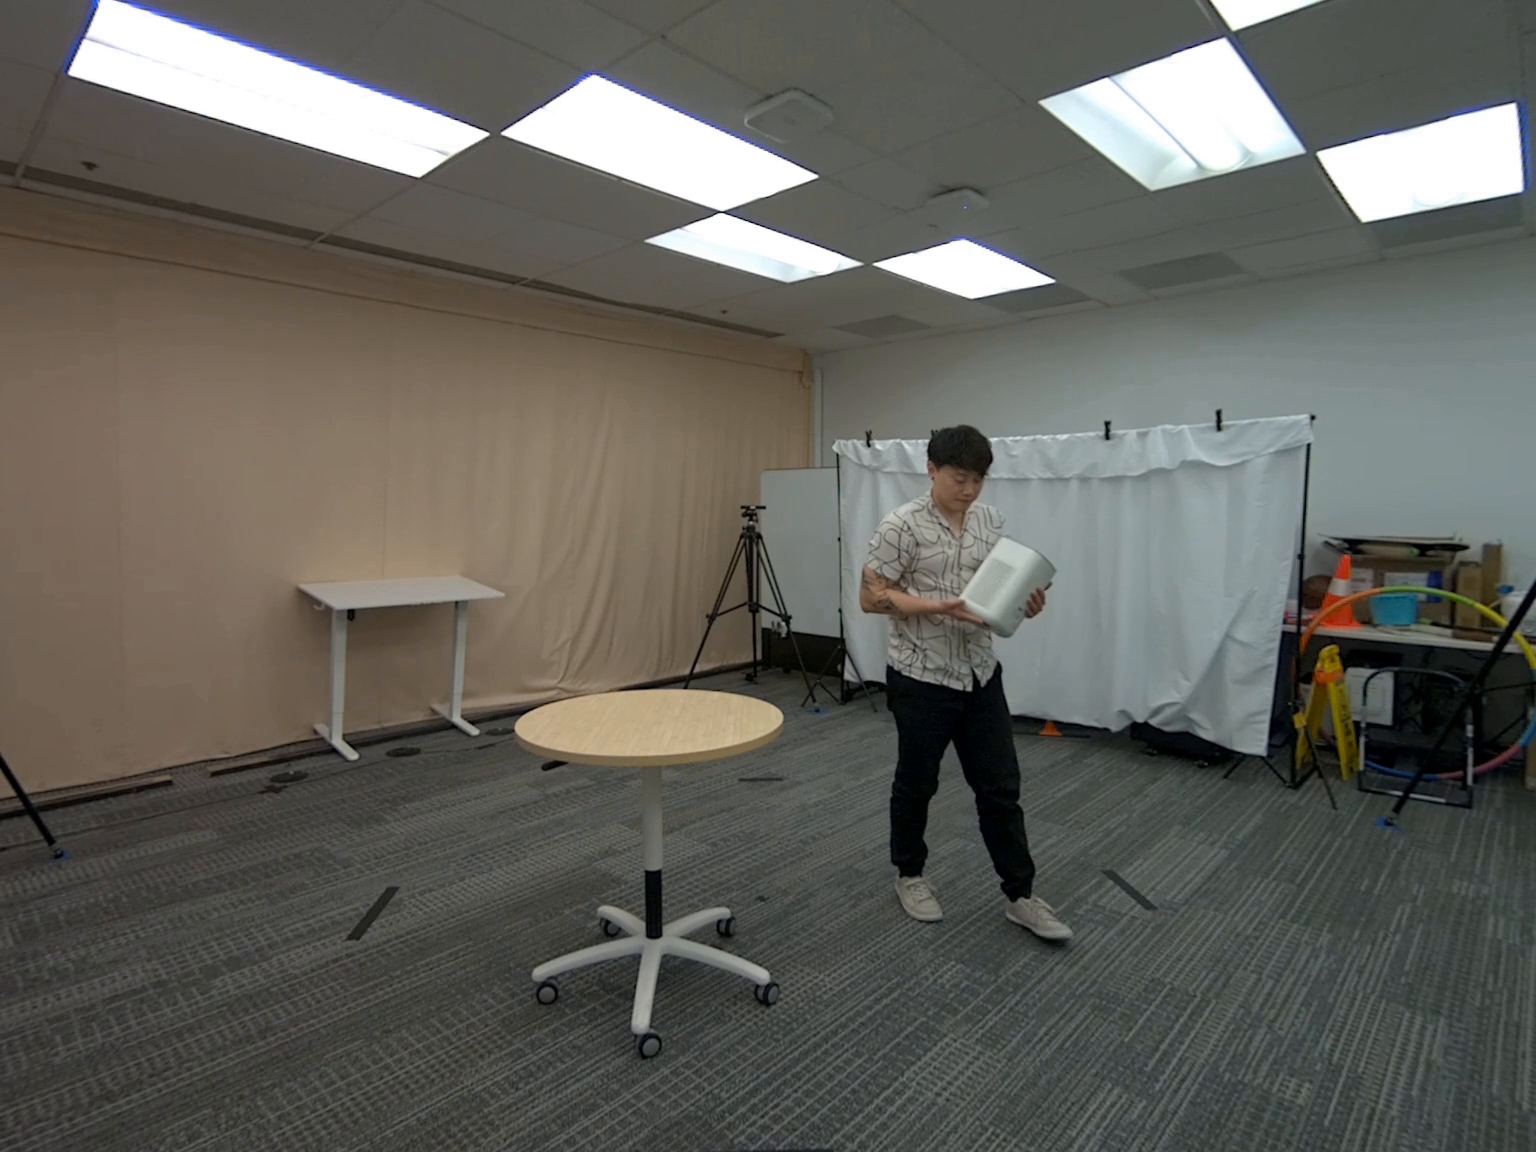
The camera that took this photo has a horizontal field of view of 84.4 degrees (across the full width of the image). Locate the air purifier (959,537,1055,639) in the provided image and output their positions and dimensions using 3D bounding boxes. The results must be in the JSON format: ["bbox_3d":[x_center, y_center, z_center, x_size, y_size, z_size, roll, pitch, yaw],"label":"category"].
[{"bbox_3d":[0.739,0.040,2.627,0.178,0.265,0.165,34,-2,46],"label":"air purifier"}]
